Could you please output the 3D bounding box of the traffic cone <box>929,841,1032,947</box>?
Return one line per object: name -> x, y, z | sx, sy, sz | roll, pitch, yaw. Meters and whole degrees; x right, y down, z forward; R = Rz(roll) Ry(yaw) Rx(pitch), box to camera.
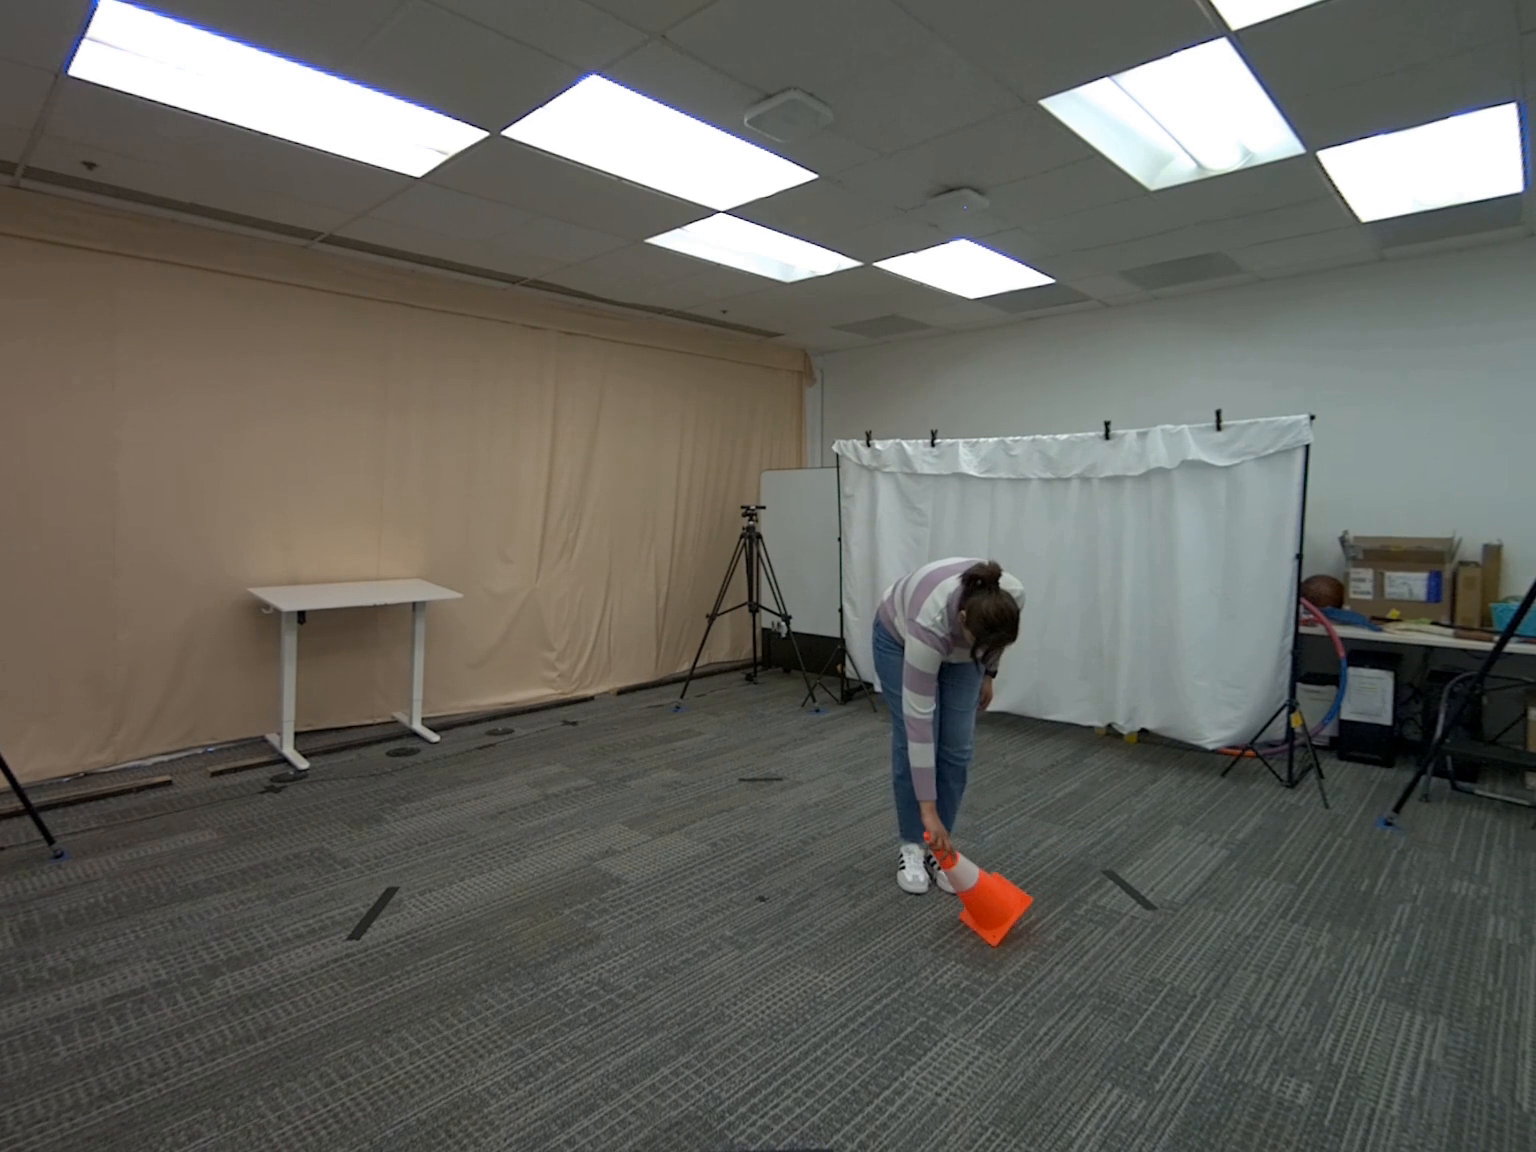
traffic cone -> 0.622, 0.953, 2.708 | 0.204, 0.377, 0.207 | -46, 15, -11
